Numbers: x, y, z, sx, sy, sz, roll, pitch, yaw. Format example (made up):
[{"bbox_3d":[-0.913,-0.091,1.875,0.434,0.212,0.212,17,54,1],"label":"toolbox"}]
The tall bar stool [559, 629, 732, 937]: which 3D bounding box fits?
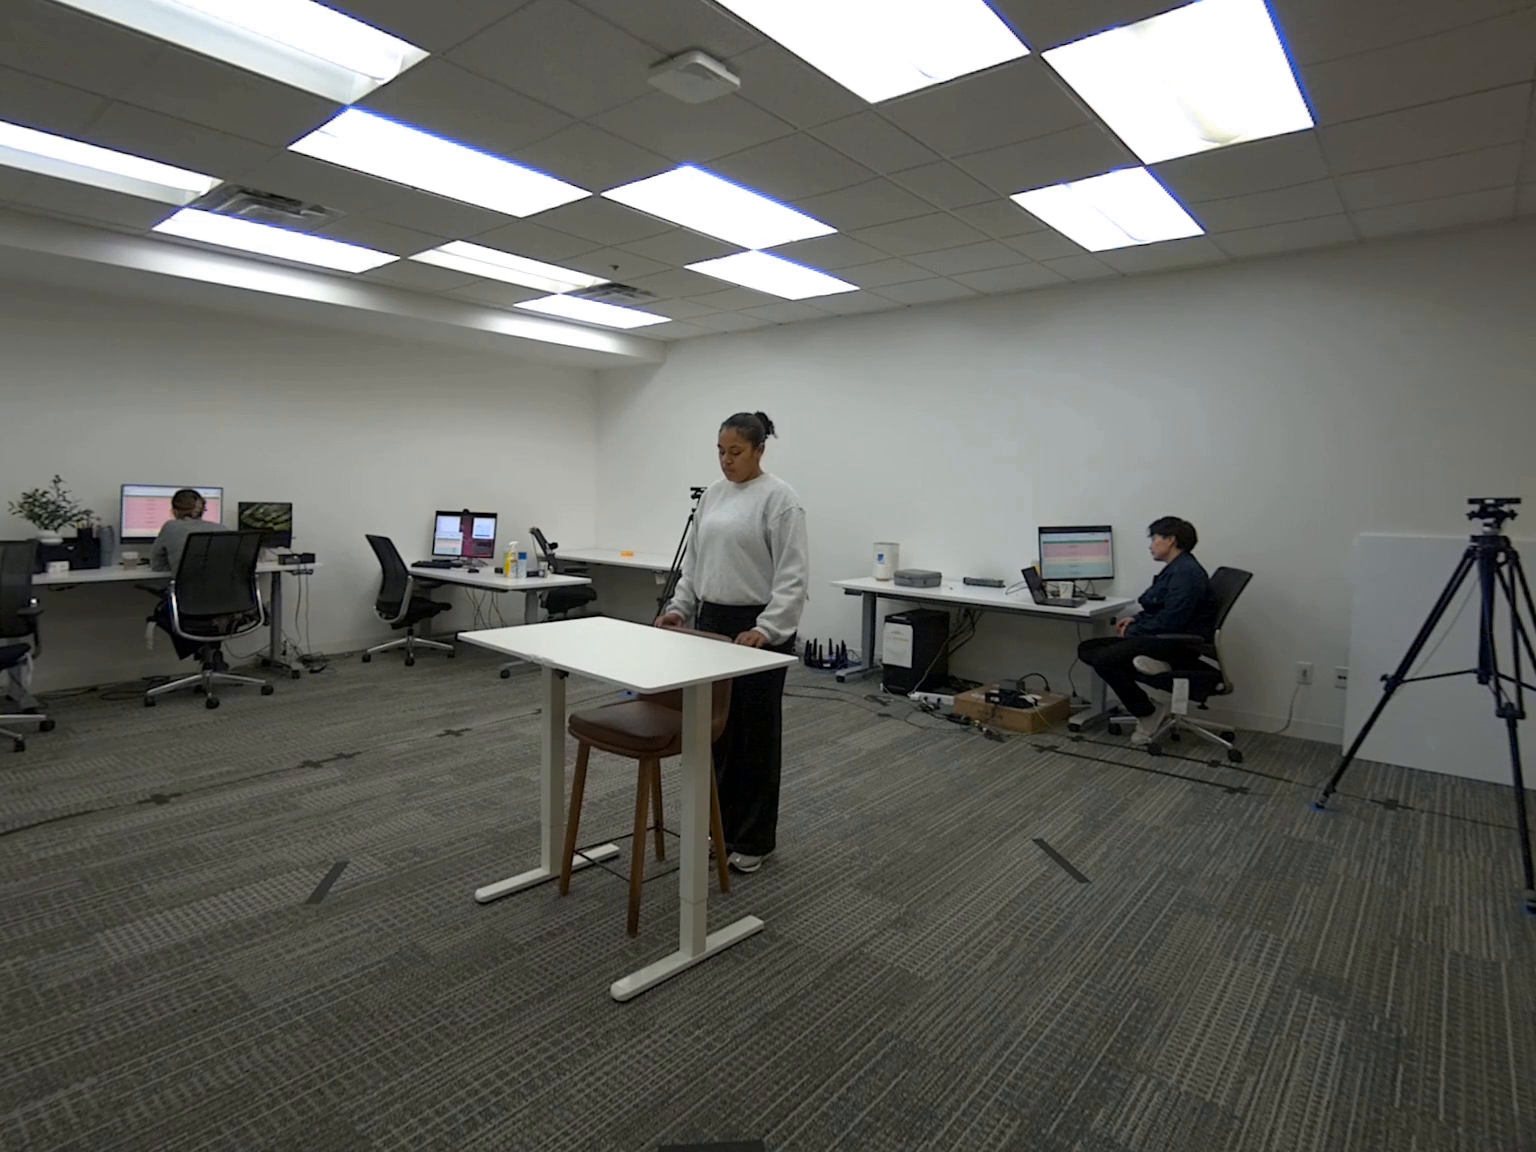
[{"bbox_3d":[-0.406,0.645,2.901,0.472,0.889,0.452,3,1,44],"label":"tall bar stool"}]
